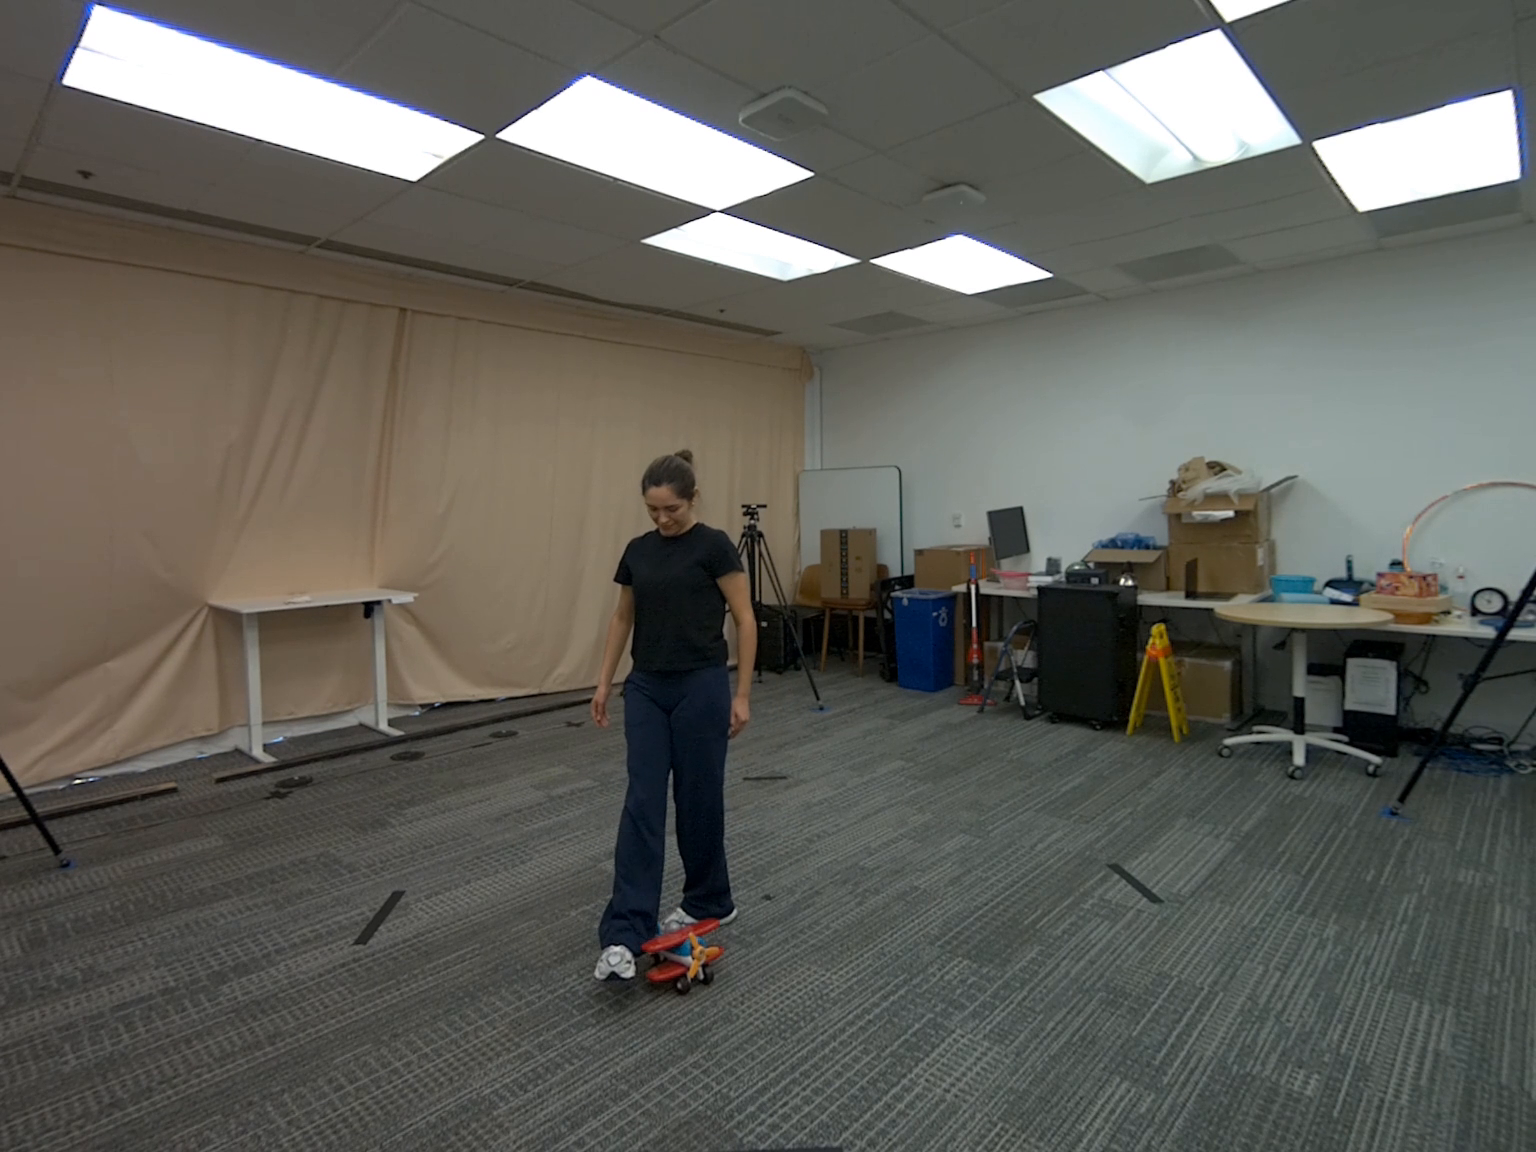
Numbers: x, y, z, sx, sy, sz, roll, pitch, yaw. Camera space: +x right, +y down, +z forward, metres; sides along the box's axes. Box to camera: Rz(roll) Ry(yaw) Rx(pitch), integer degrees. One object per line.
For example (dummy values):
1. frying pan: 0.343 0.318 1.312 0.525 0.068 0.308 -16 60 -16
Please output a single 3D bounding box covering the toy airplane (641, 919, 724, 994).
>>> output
1. toy airplane: -0.277 1.110 2.483 0.266 0.156 0.245 2 4 24
